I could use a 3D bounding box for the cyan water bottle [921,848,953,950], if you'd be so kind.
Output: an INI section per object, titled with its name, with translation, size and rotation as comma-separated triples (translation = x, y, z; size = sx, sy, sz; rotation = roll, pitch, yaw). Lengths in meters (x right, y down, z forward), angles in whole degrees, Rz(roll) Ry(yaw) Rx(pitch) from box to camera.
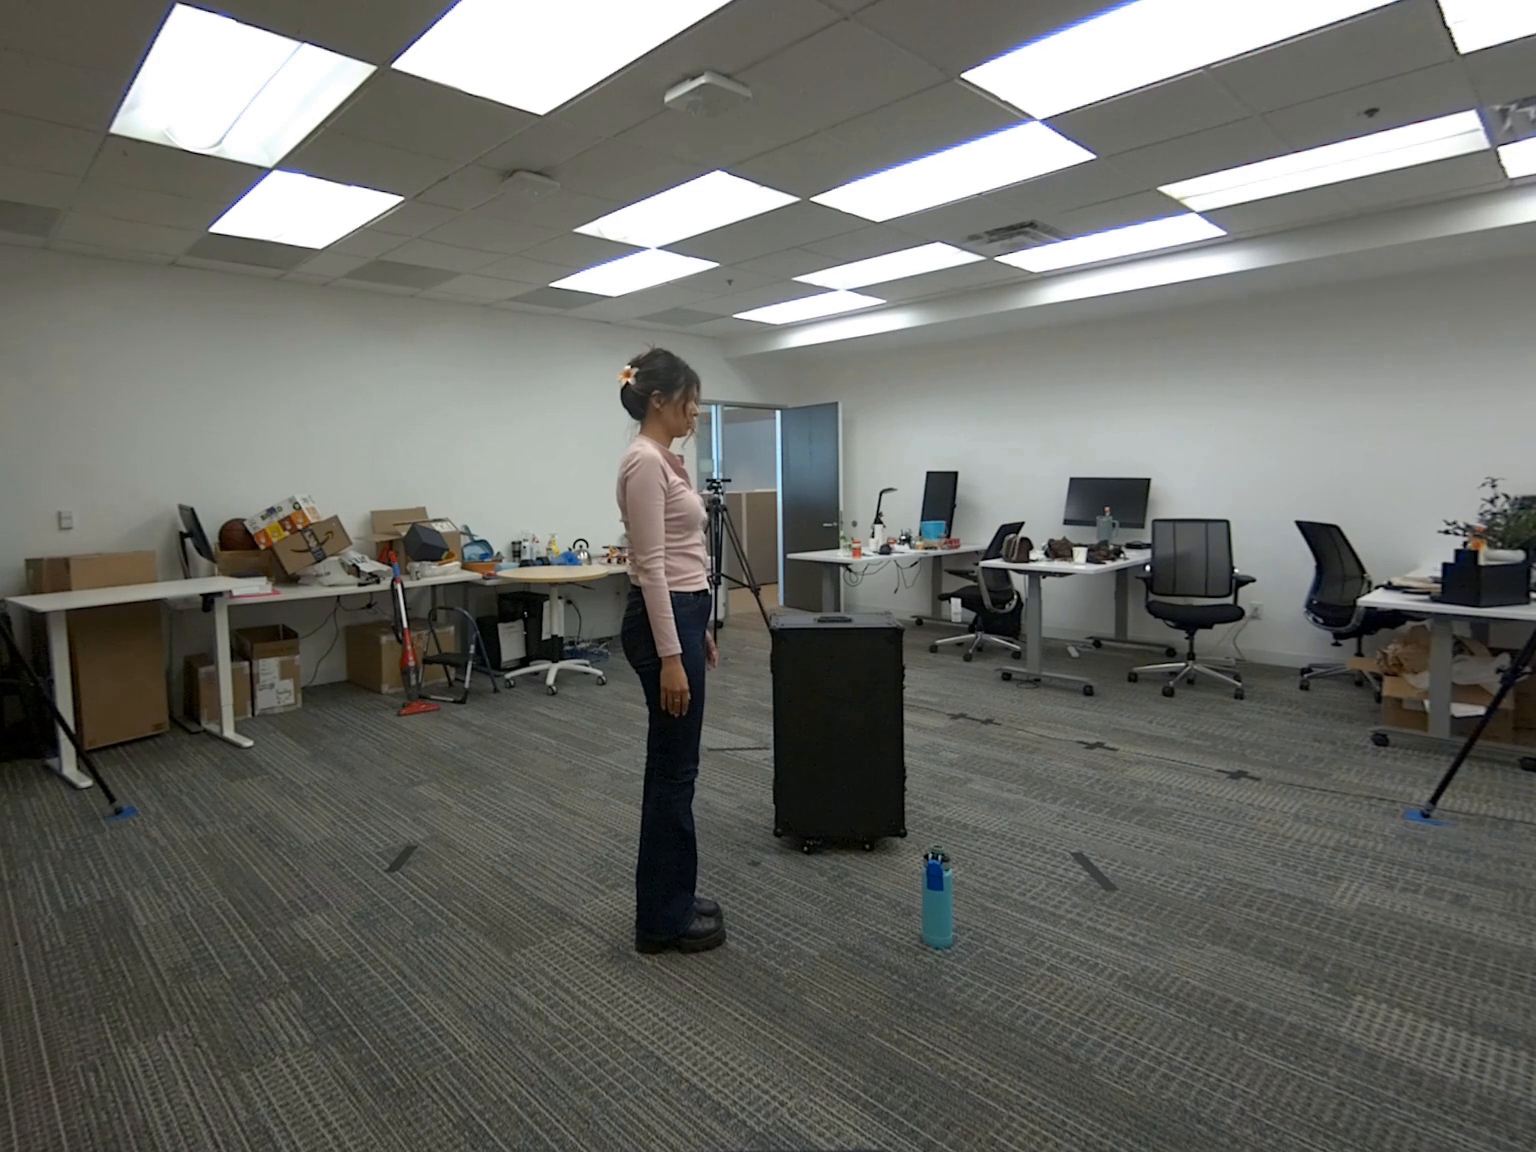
[cyan water bottle]
translation = 0.499, 0.955, 2.558
size = 0.092, 0.282, 0.093
rotation = -2, 4, -1
